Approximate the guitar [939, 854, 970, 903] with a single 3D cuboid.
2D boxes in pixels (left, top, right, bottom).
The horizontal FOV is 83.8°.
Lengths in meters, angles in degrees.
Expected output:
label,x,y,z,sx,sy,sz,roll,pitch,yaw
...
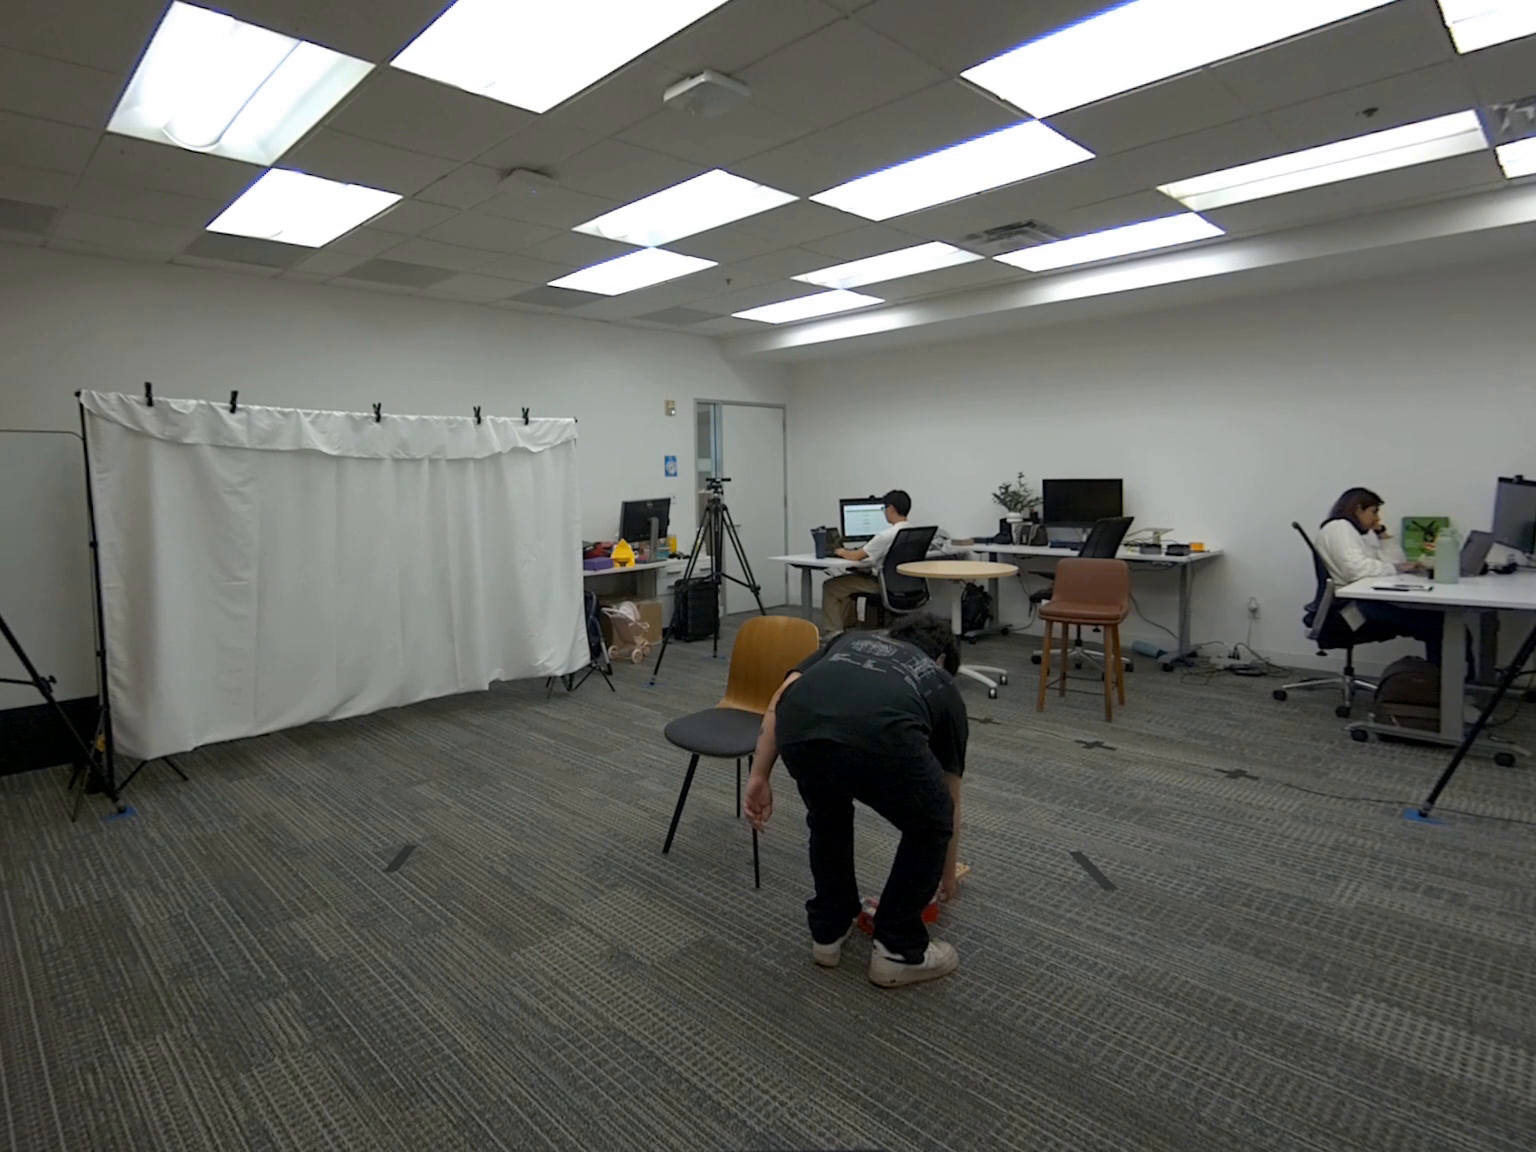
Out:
label,x,y,z,sx,sy,sz,roll,pitch,yaw
guitar,0.522,1.043,2.731,0.486,0.070,0.198,-4,7,-32
